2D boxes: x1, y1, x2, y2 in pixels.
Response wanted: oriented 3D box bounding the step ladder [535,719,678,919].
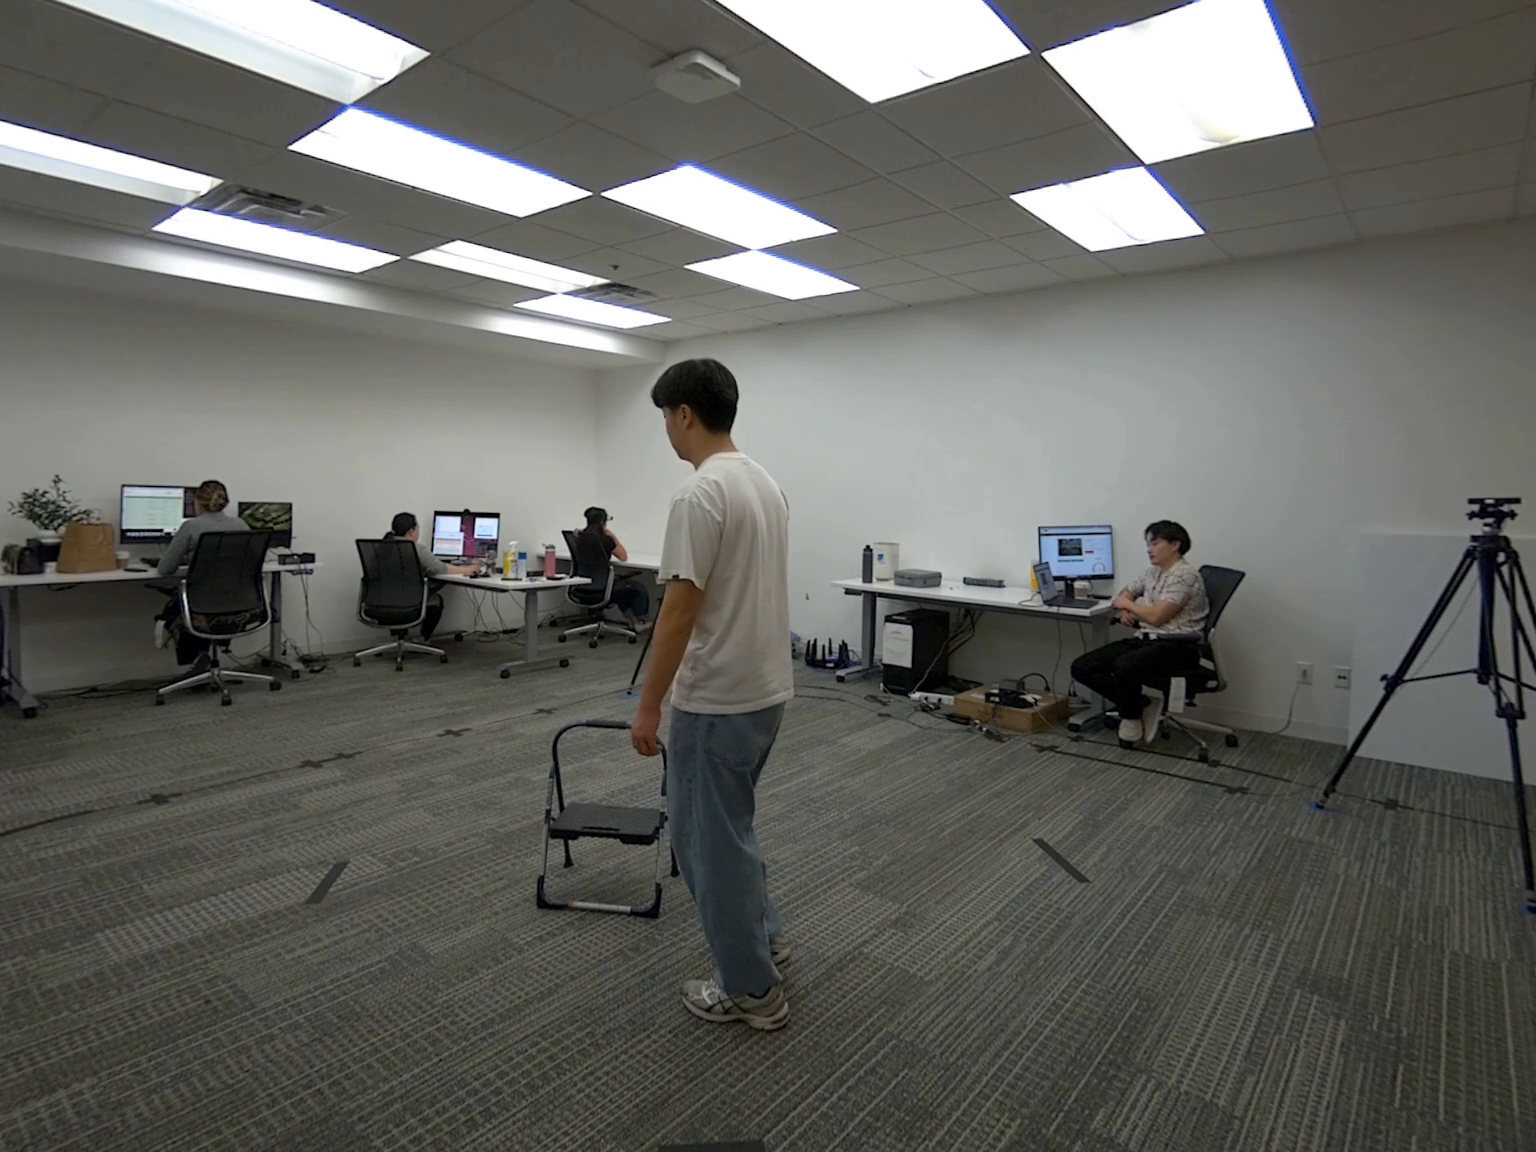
[{"bbox_3d":[-0.552,0.777,2.911,0.434,0.604,0.348,1,3,6],"label":"step ladder"}]
